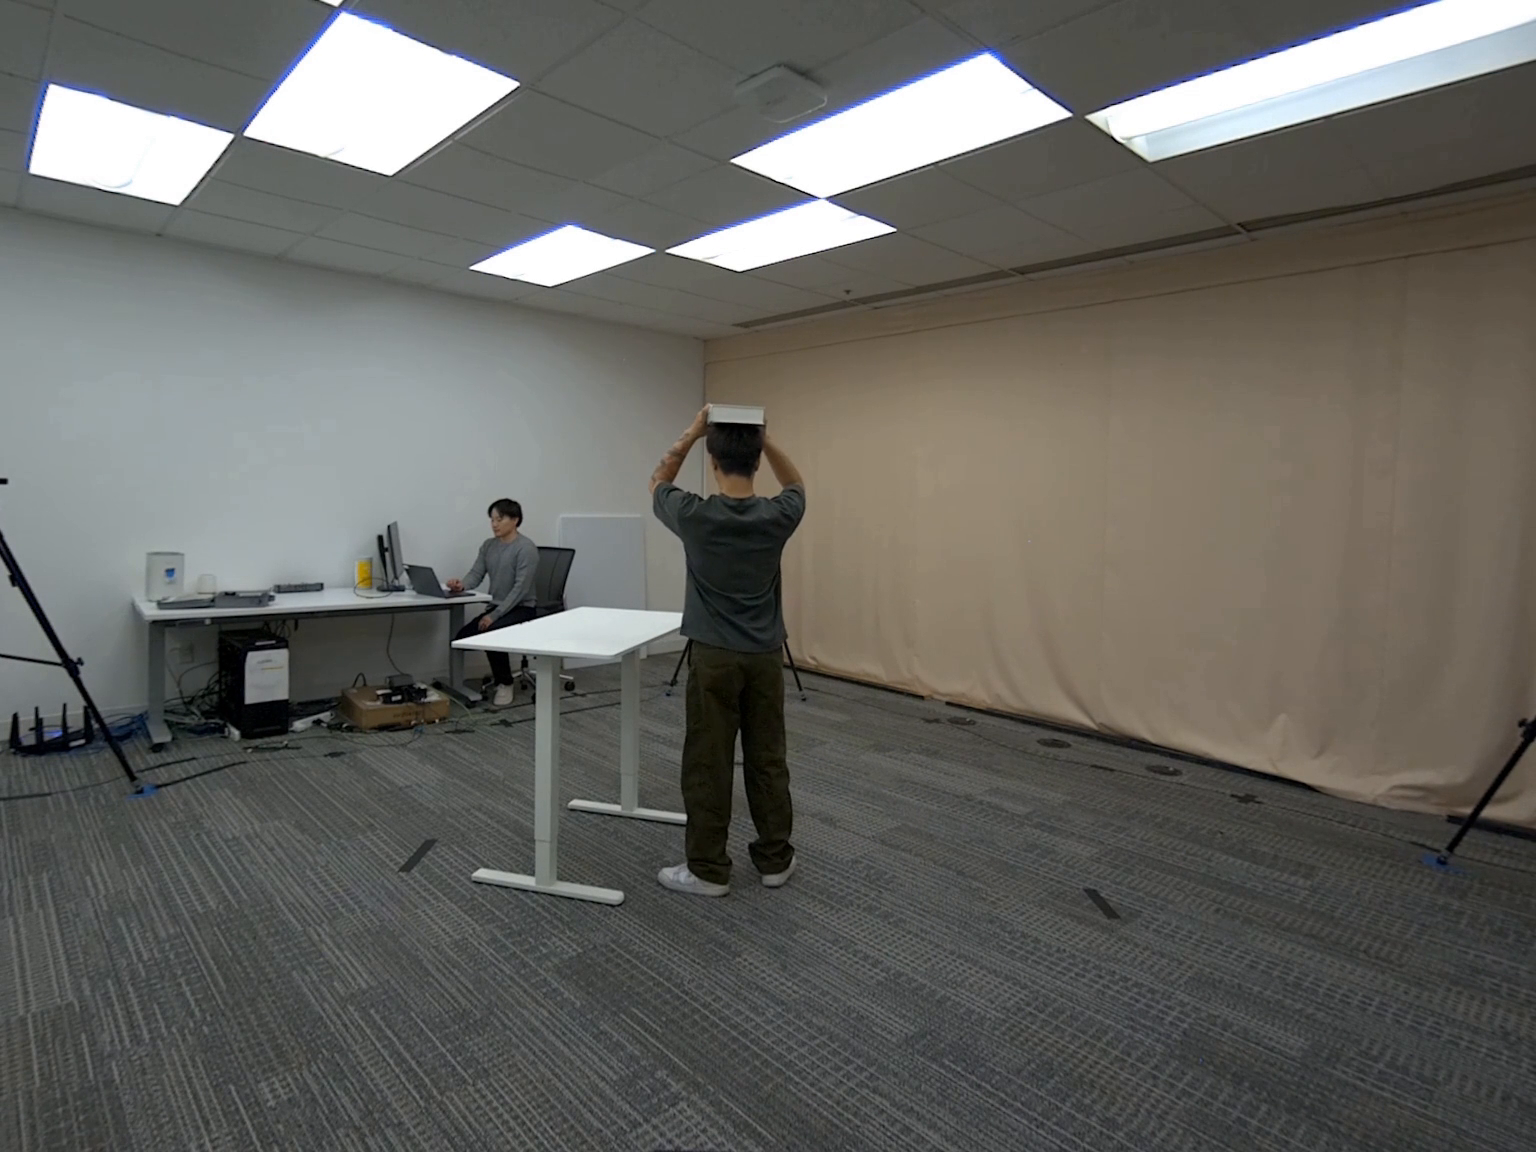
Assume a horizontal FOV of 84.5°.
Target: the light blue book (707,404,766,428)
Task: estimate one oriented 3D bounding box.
[{"bbox_3d":[-0.129,-0.576,3.028,0.193,0.059,0.259,4,5,9],"label":"light blue book"}]
